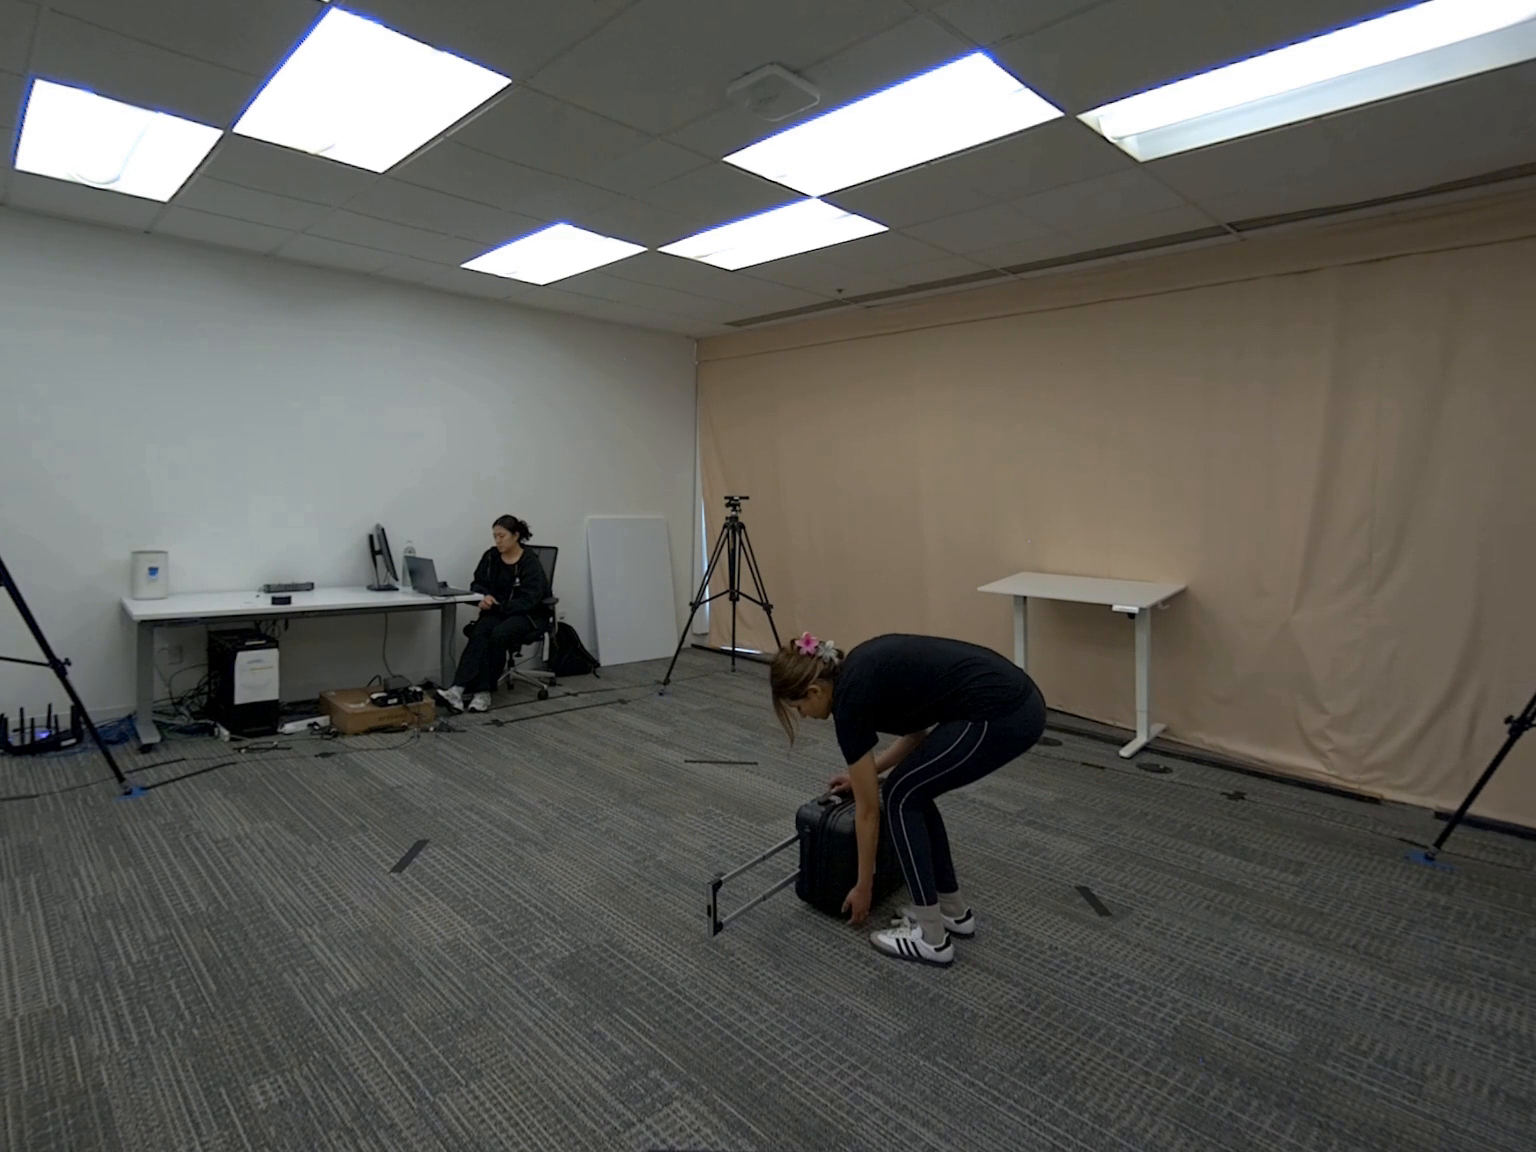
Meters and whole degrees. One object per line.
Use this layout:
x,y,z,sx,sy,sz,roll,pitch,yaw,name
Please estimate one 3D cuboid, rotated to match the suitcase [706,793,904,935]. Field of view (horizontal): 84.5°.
0.198,0.951,2.813,0.263,0.383,0.958,3,5,35,suitcase
